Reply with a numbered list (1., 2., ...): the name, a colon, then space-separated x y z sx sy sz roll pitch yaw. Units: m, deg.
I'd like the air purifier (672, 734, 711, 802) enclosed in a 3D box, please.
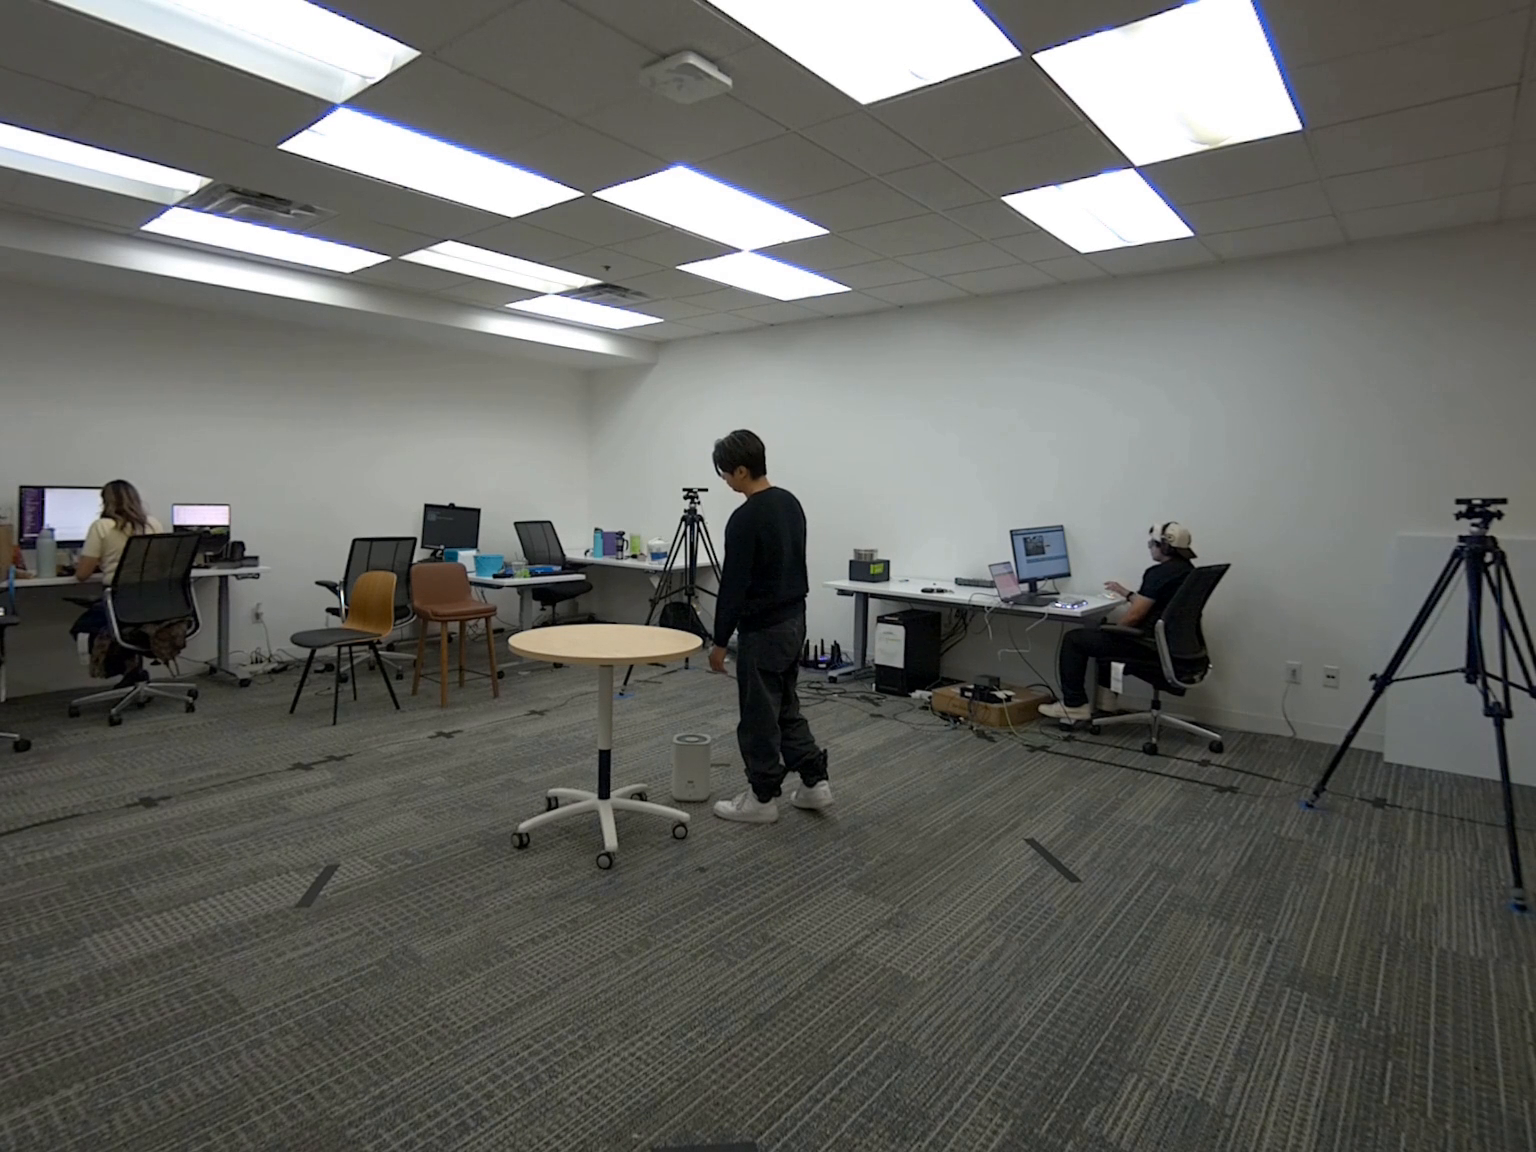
1. air purifier: -0.359 0.862 3.851 0.171 0.264 0.172 0 4 -1
